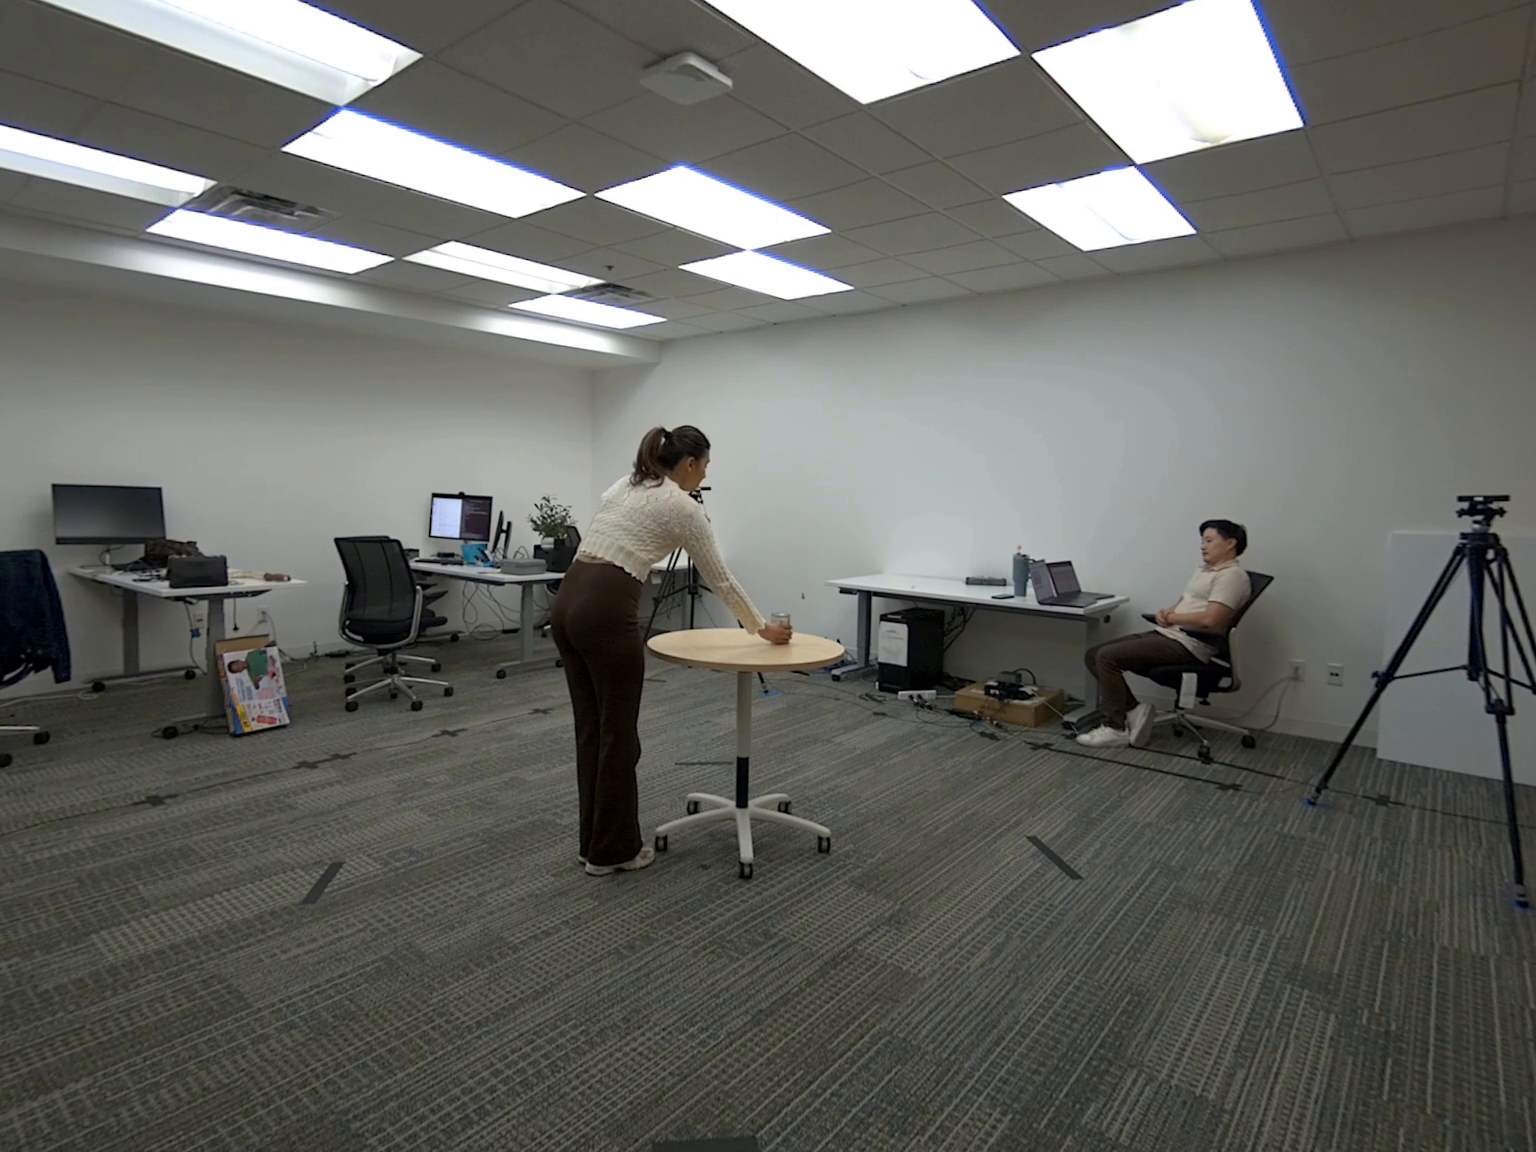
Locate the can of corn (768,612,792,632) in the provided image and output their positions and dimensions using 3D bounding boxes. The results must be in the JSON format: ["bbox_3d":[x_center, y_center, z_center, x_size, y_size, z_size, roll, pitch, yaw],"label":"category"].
[{"bbox_3d":[0.033,0.206,3.363,0.074,0.110,0.075,1,6,-2],"label":"can of corn"}]
